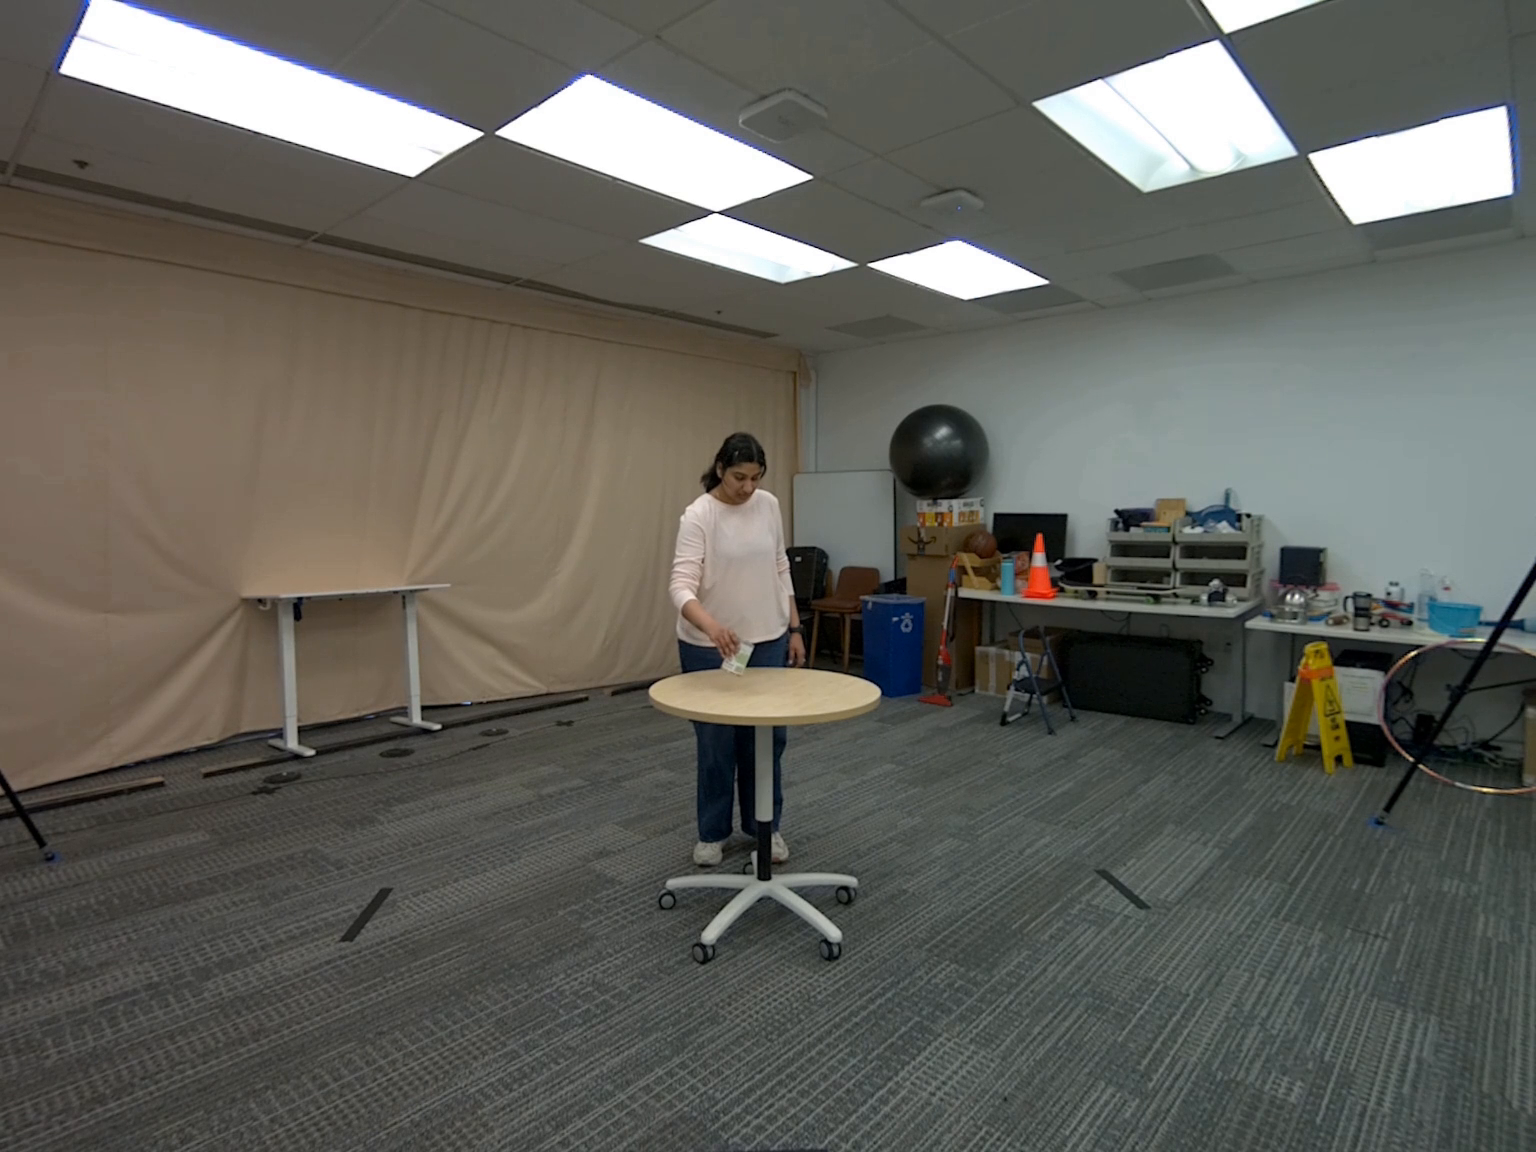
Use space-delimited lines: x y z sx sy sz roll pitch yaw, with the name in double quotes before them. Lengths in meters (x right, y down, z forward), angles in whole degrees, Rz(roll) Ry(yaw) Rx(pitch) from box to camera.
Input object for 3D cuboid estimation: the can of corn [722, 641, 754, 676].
"can of corn" -0.102 0.269 2.761 0.074 0.111 0.074 23 -1 -2
